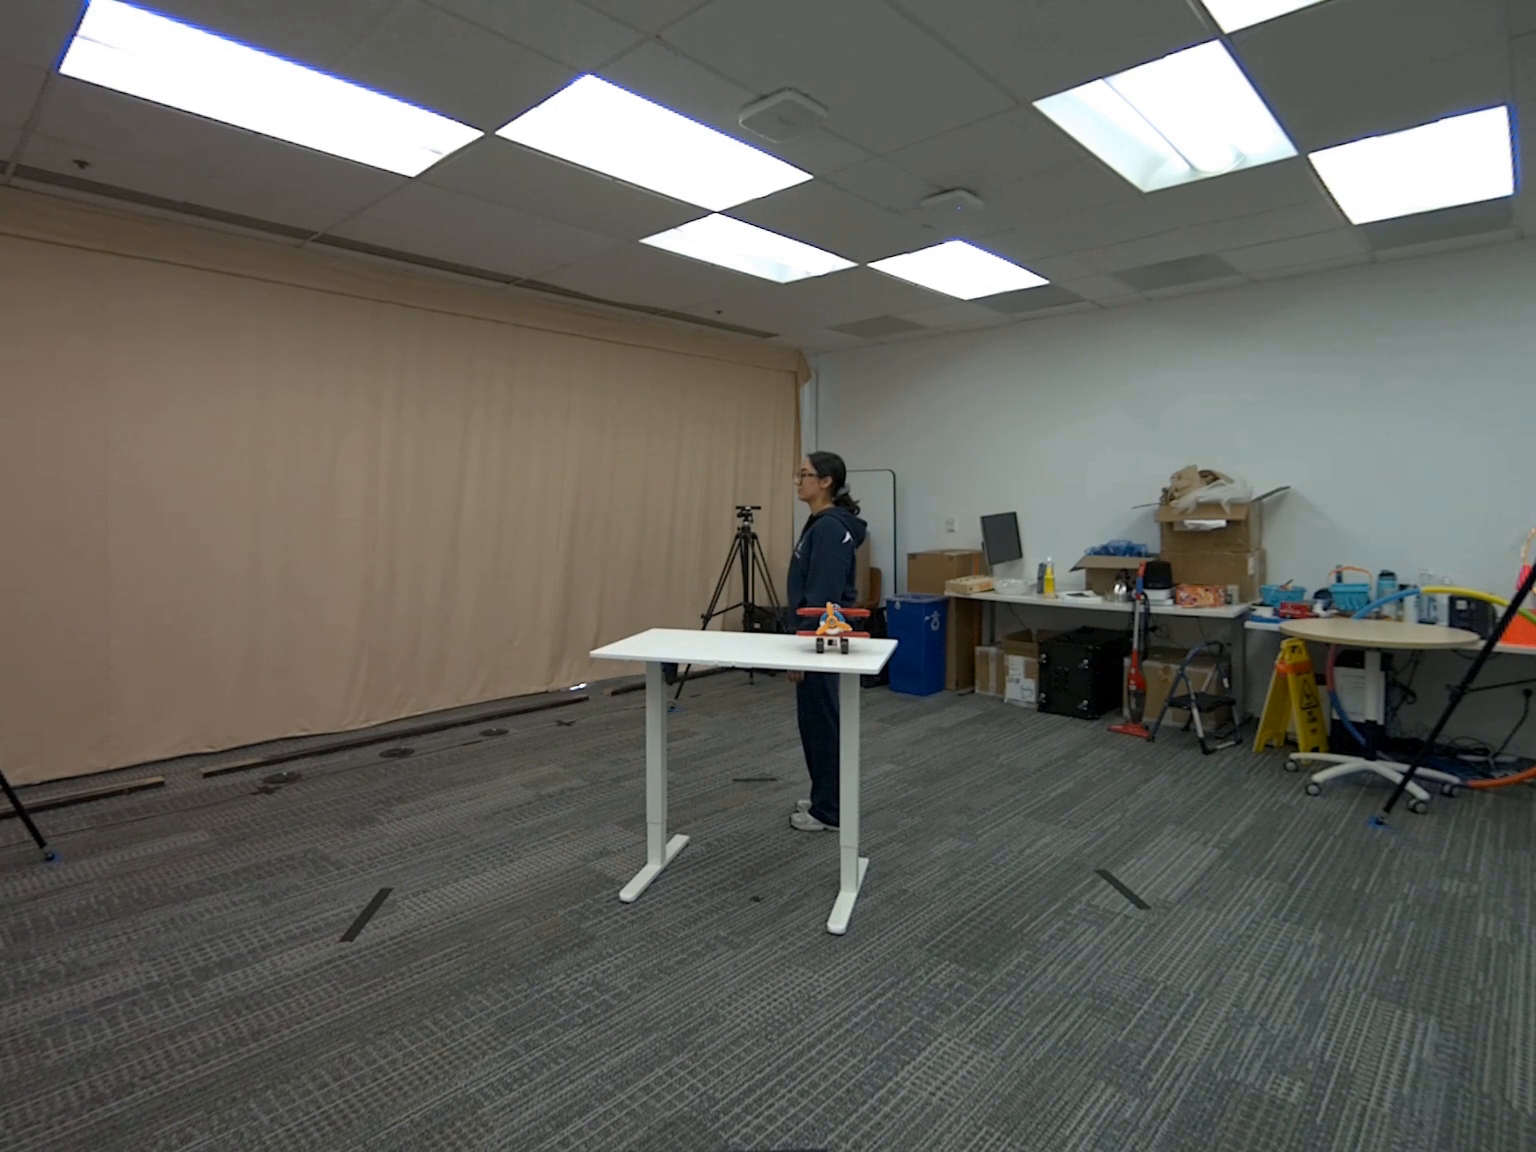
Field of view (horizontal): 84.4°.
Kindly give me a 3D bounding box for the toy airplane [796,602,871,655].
[{"bbox_3d":[0.225,0.180,3.000,0.247,0.156,0.264,-3,5,-17],"label":"toy airplane"}]
